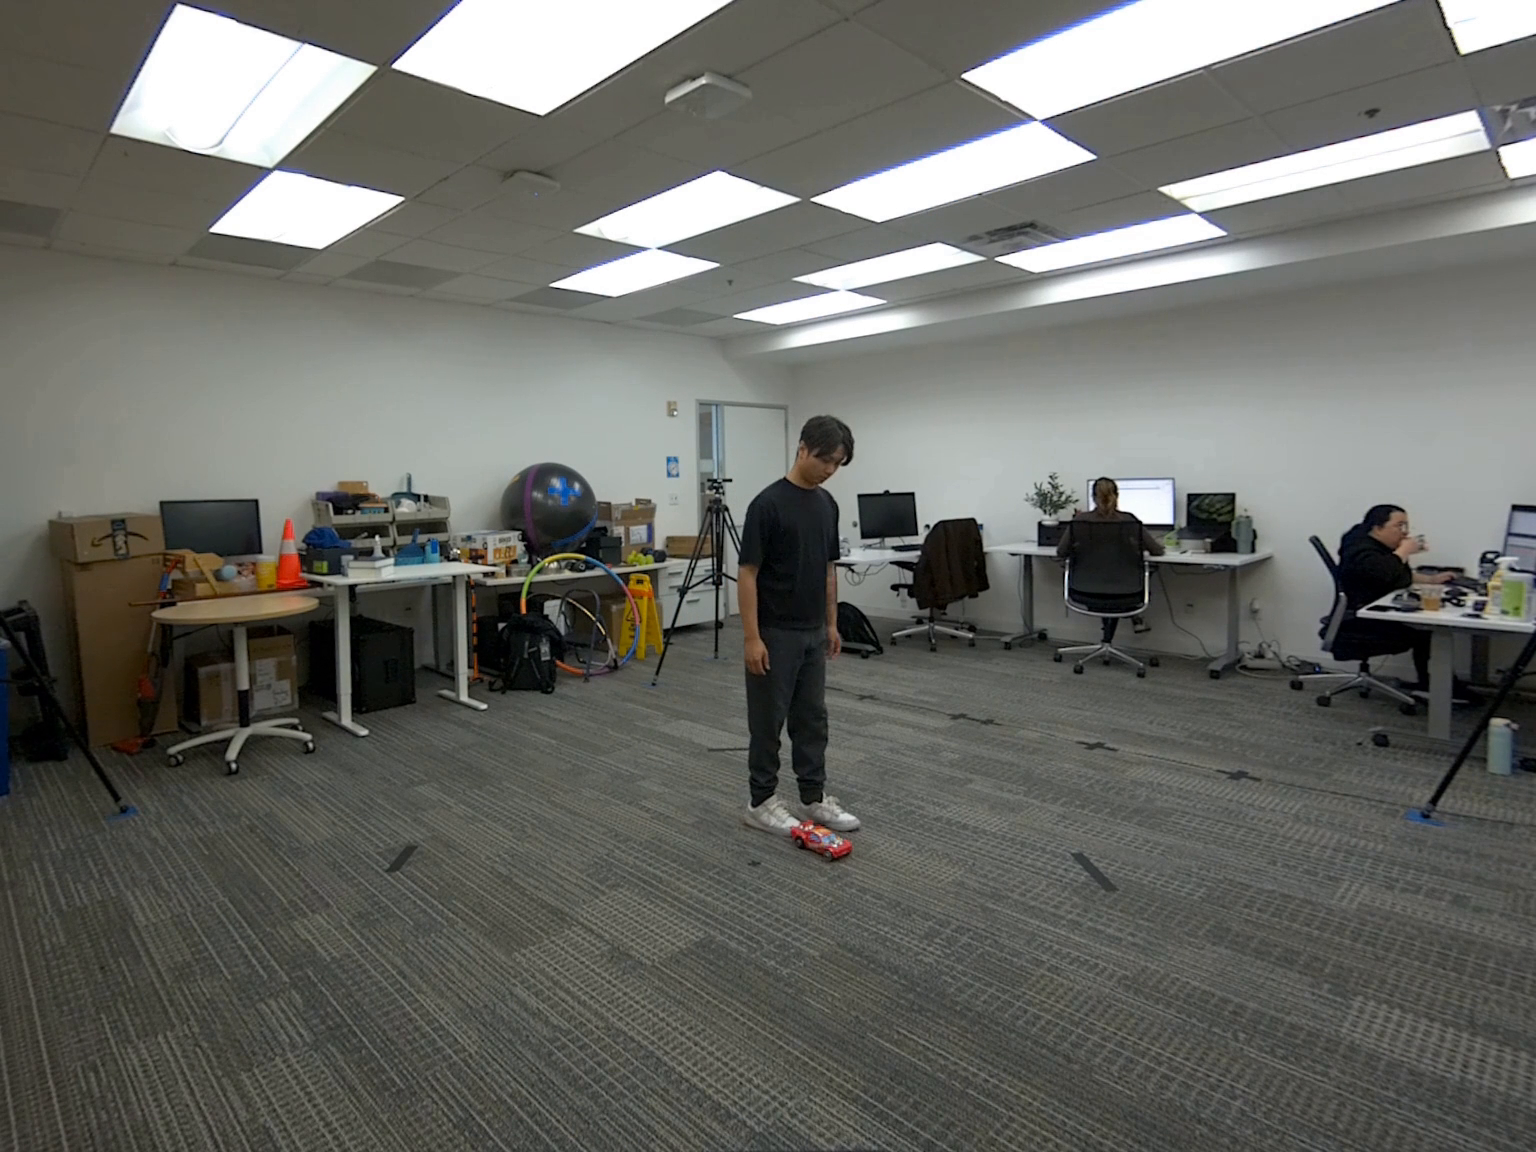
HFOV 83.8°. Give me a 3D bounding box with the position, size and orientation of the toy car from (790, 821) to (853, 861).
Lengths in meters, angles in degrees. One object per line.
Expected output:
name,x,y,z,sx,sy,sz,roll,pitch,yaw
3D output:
toy car,0.194,1.002,3.216,0.127,0.082,0.264,-6,19,-39
